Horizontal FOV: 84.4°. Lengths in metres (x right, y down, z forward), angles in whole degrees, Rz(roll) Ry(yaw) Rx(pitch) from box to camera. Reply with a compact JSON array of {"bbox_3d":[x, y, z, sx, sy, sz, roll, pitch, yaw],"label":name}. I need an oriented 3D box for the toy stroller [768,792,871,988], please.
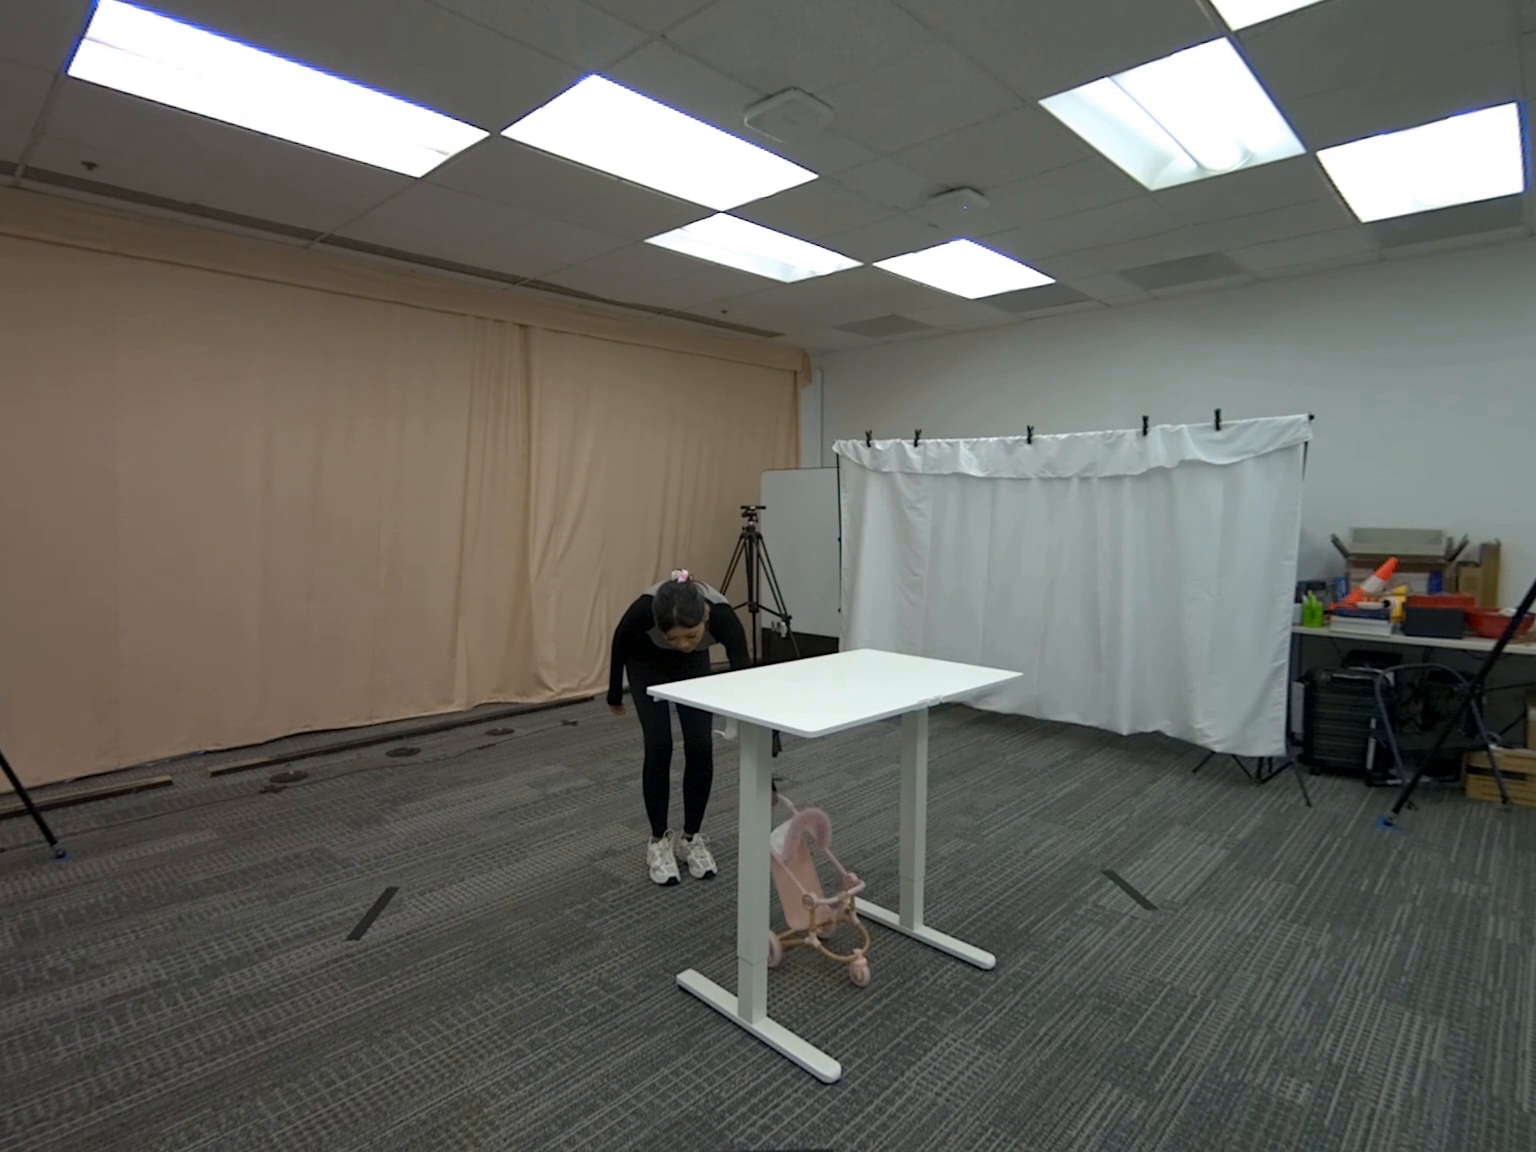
[{"bbox_3d":[0.133,0.951,2.571,0.273,0.538,0.349,-3,-10,-40],"label":"toy stroller"}]
